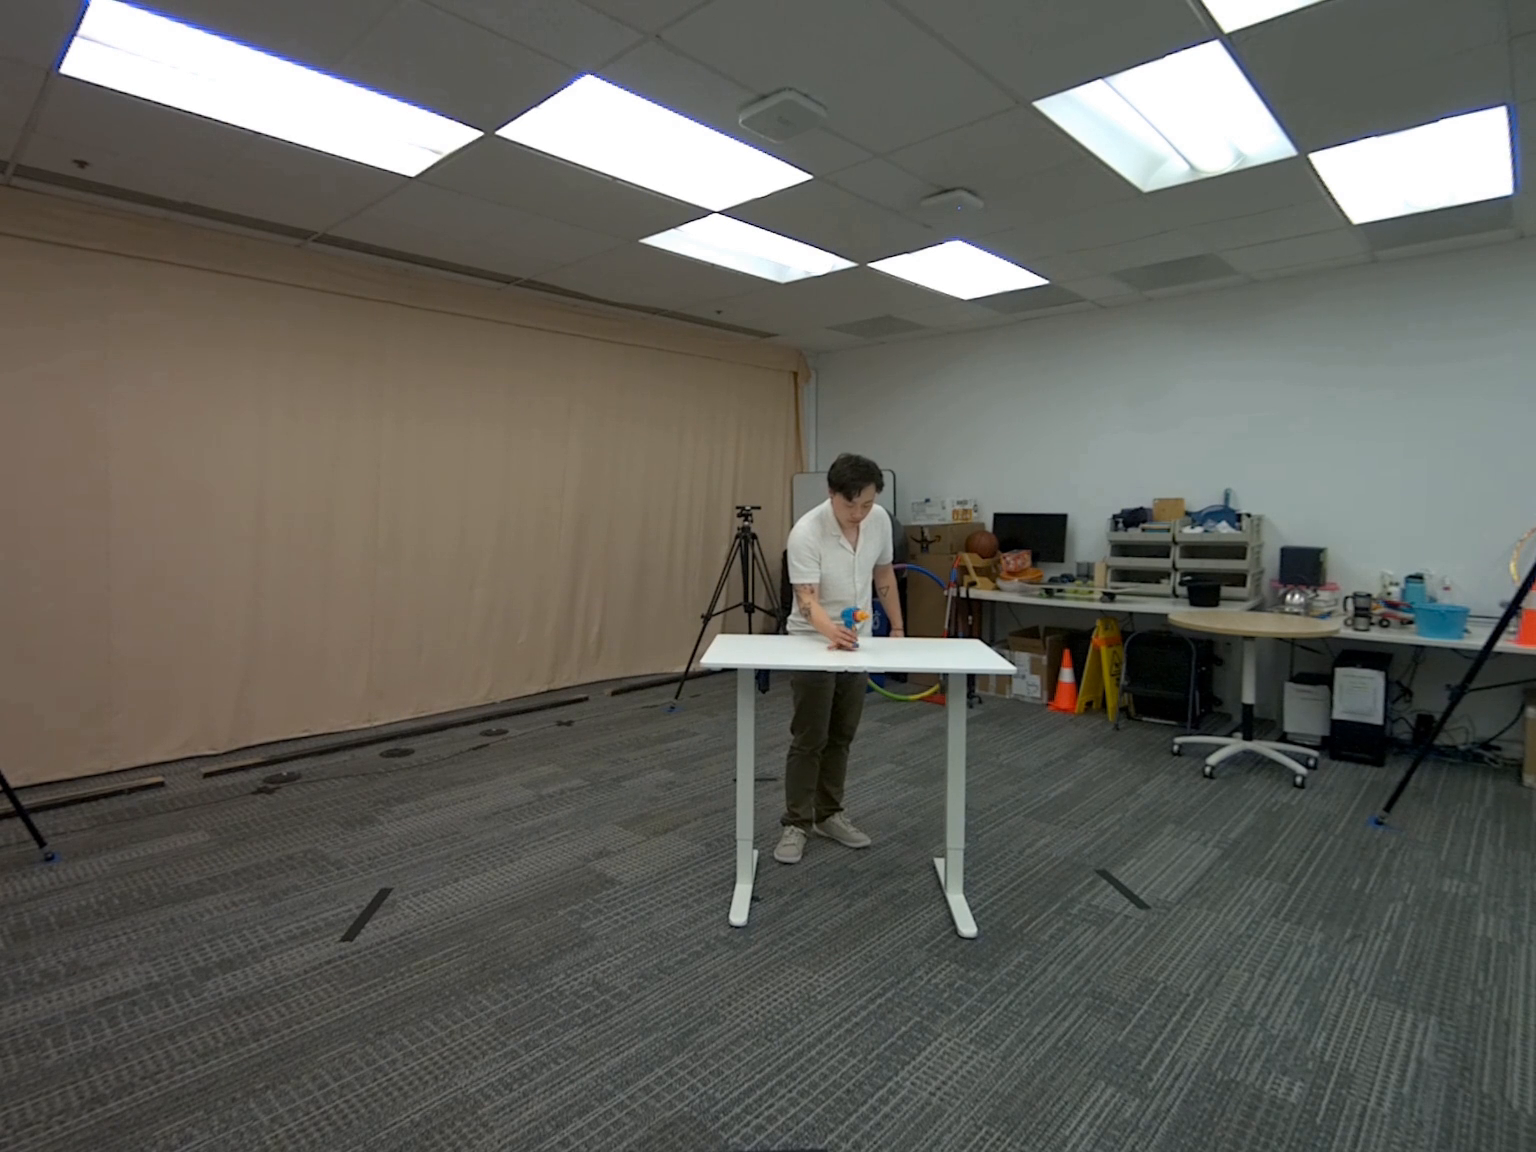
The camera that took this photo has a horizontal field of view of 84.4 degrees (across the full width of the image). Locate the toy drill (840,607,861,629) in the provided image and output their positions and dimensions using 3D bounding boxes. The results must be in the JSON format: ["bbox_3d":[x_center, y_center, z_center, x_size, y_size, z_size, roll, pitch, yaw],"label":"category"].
[{"bbox_3d":[0.305,0.172,2.954,0.060,0.146,0.173,3,-5,-25],"label":"toy drill"}]
